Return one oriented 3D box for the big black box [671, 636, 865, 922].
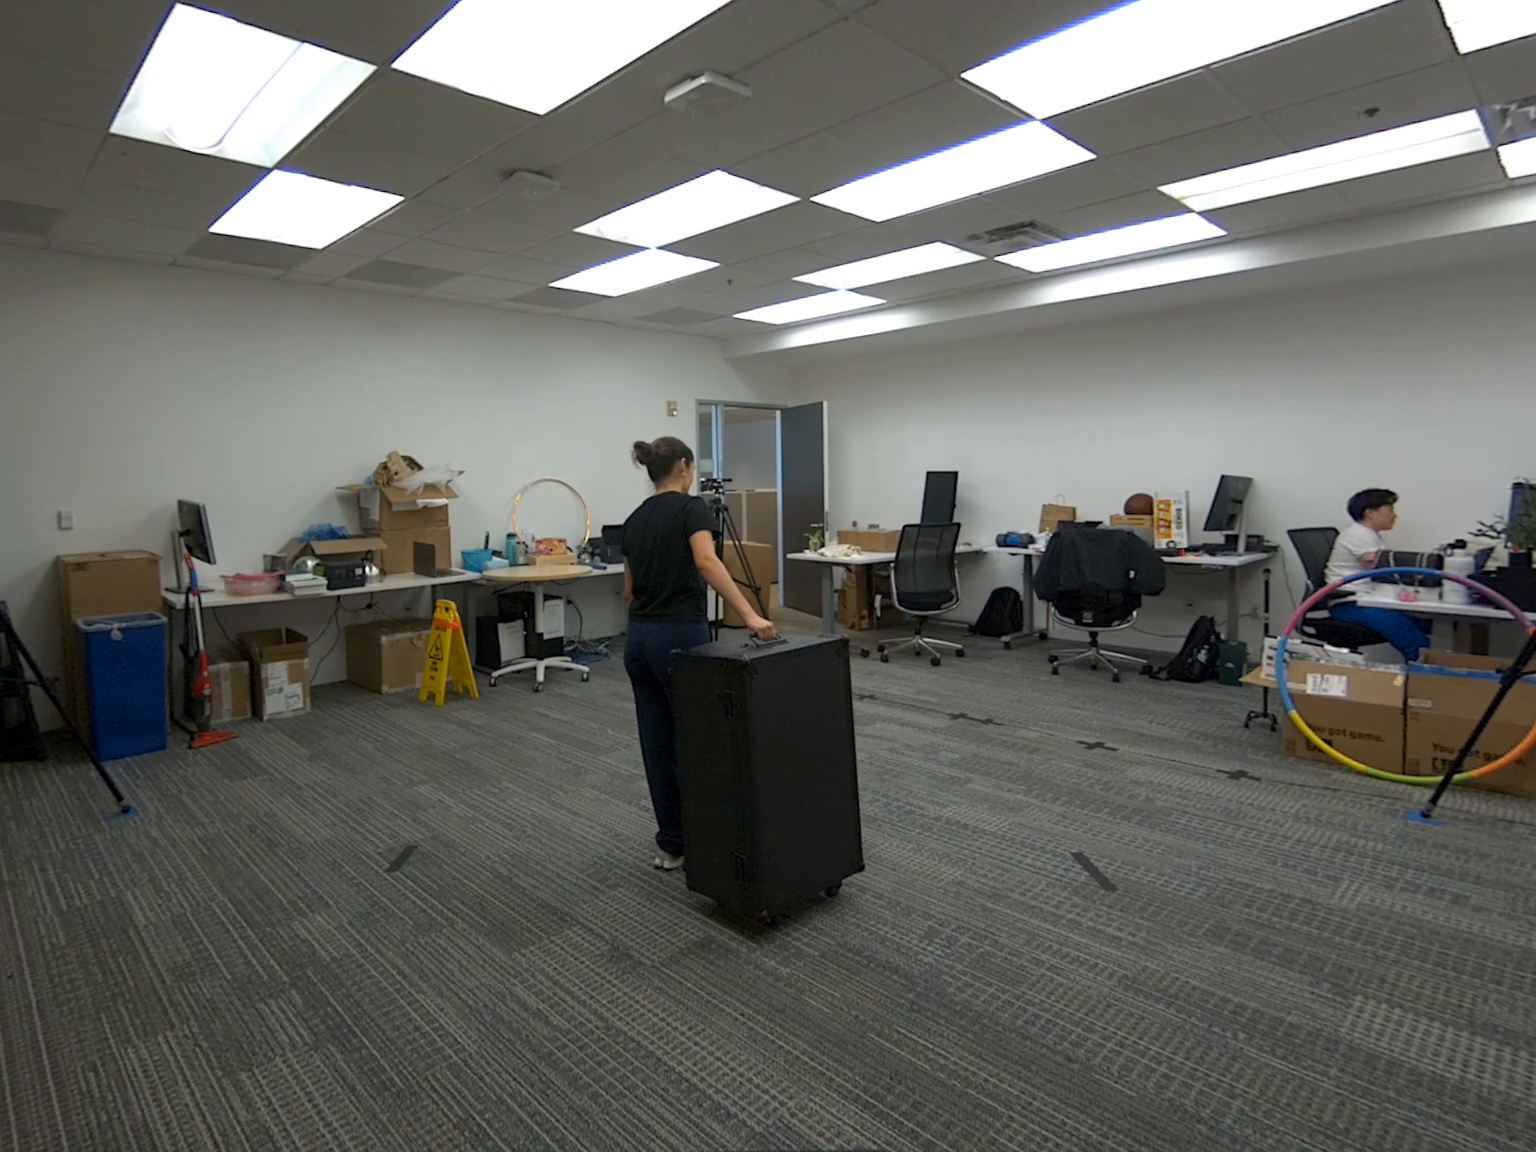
[{"bbox_3d":[-0.009,0.645,2.823,0.507,0.861,0.407,-5,1,-44],"label":"big black box"}]
